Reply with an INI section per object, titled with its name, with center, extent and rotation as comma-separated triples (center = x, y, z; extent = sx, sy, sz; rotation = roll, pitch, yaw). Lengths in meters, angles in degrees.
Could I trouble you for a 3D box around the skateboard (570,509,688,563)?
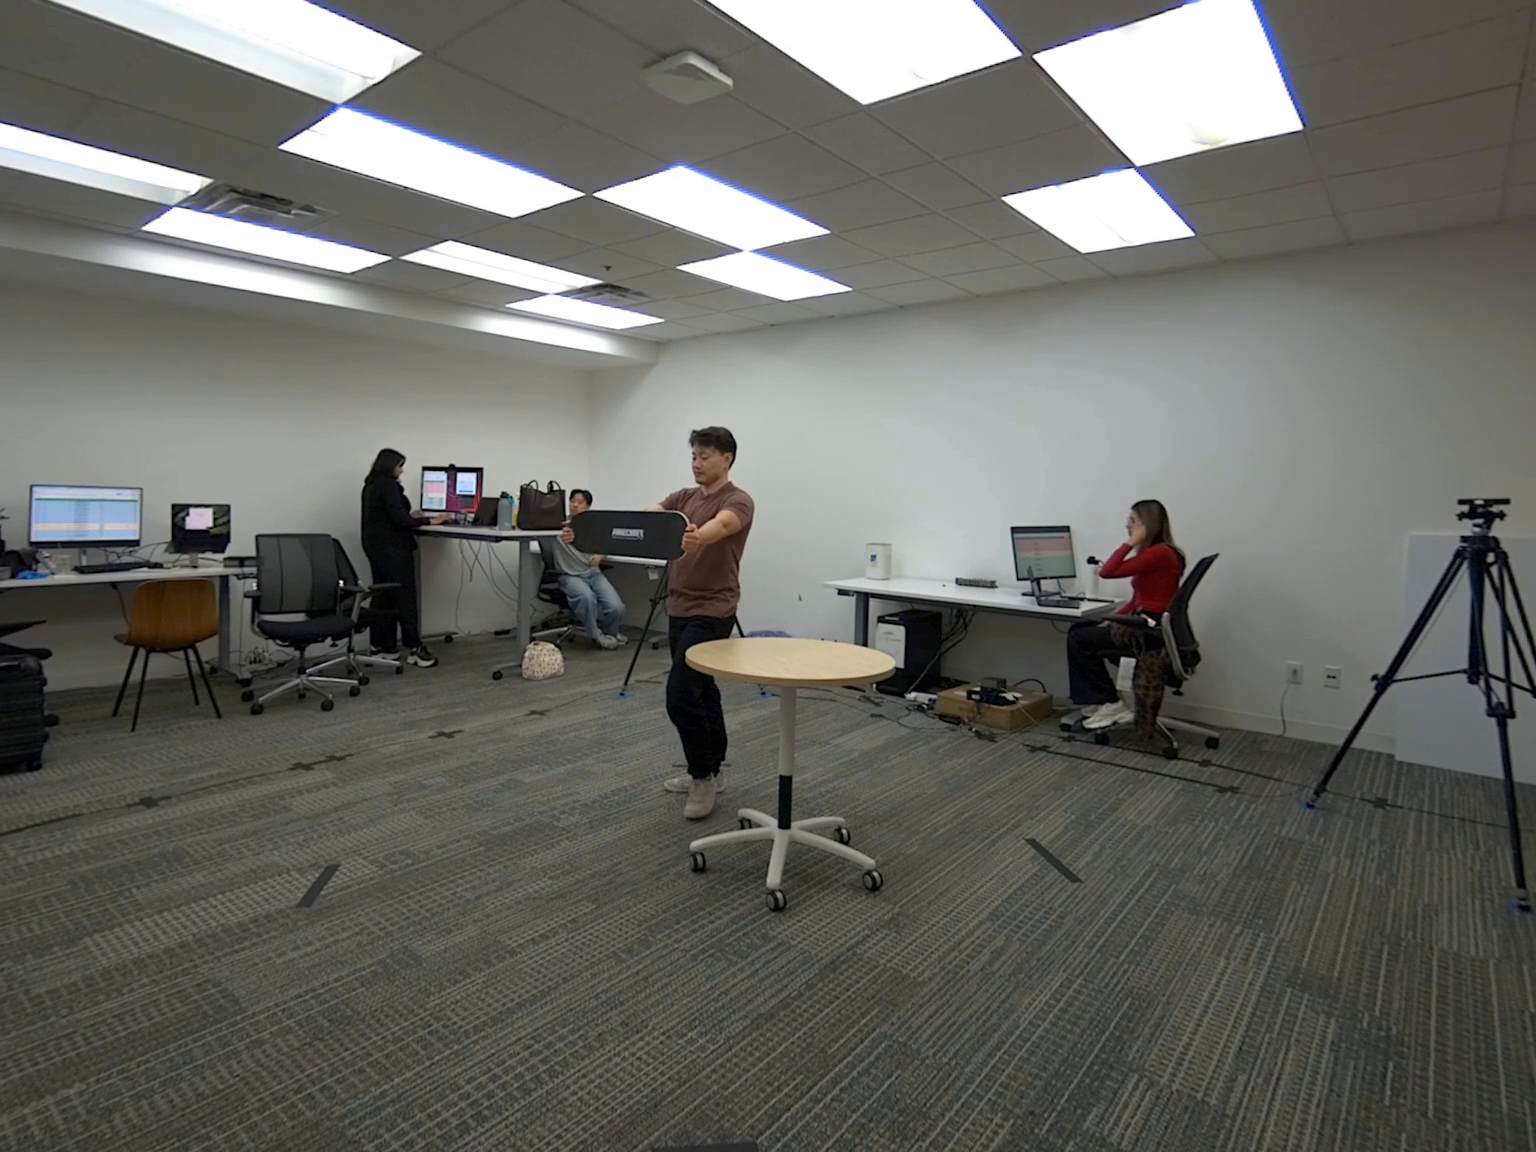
[skateboard]
center = -0.578, -0.181, 3.512
extent = 0.812, 0.194, 0.106
rotation = 5, -1, 43
